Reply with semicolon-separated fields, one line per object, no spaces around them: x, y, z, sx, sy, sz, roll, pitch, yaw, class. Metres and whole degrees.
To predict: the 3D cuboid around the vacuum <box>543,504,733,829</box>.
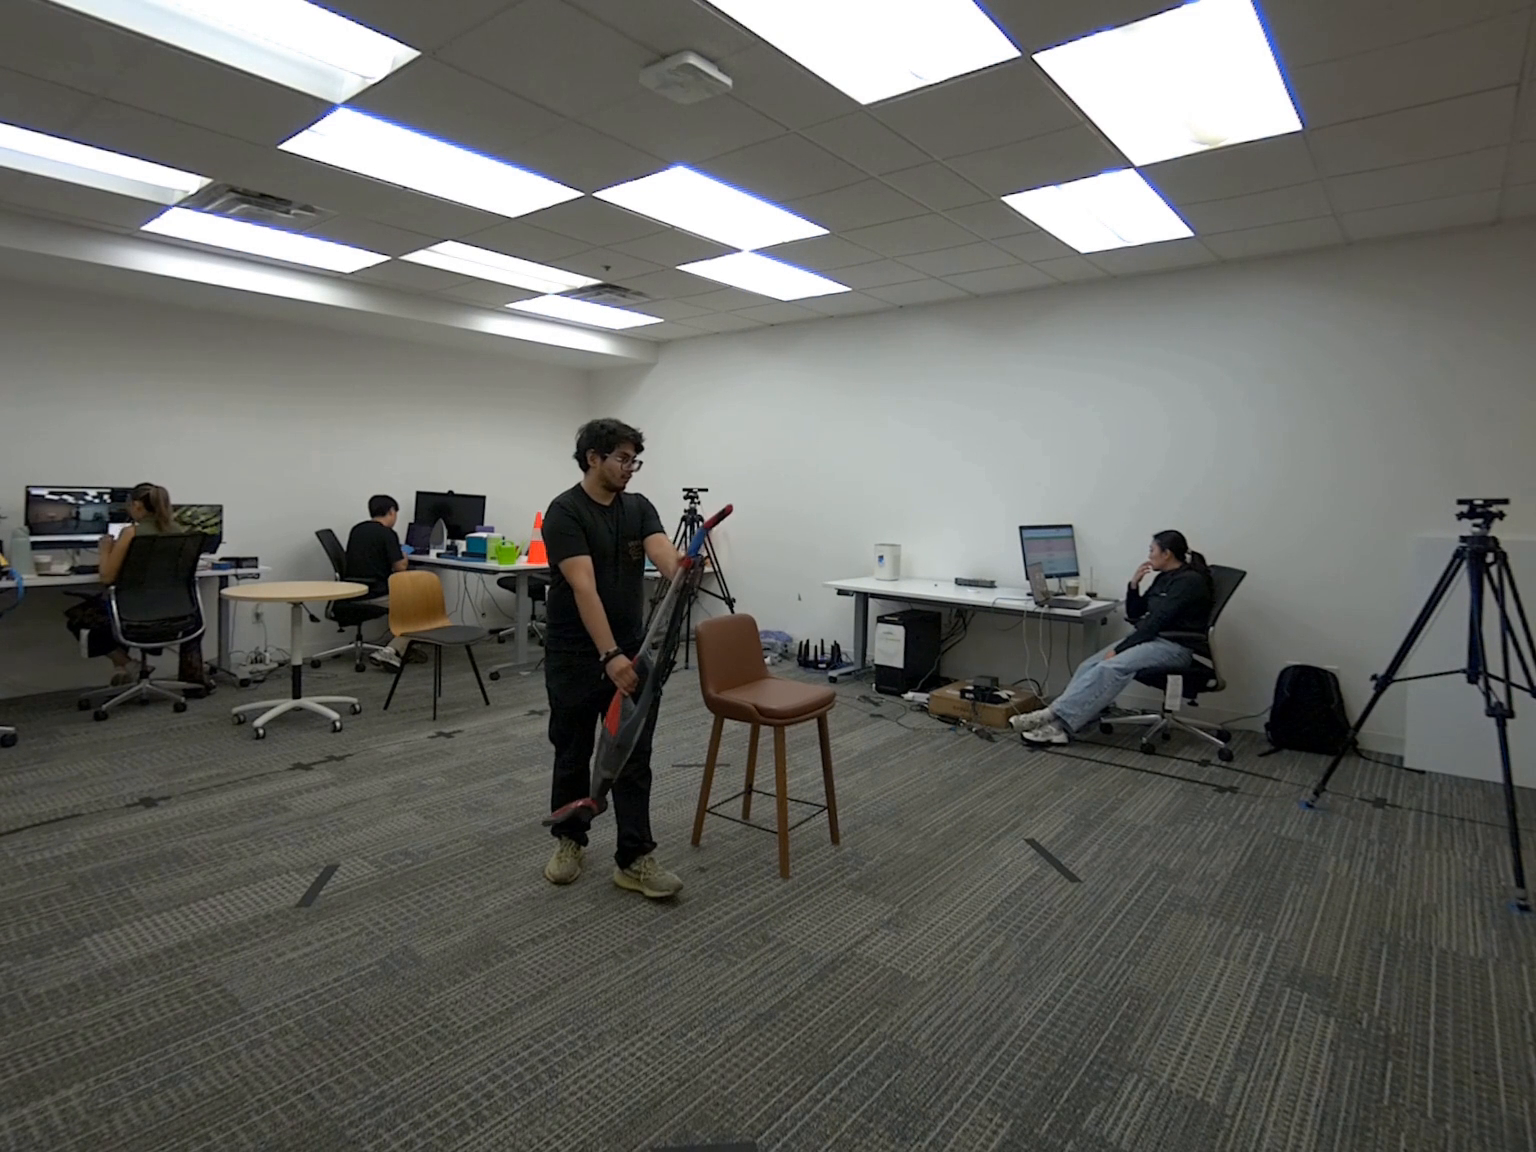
-0.363;0.250;2.606;0.149;1.049;0.244;26;0;25;vacuum
